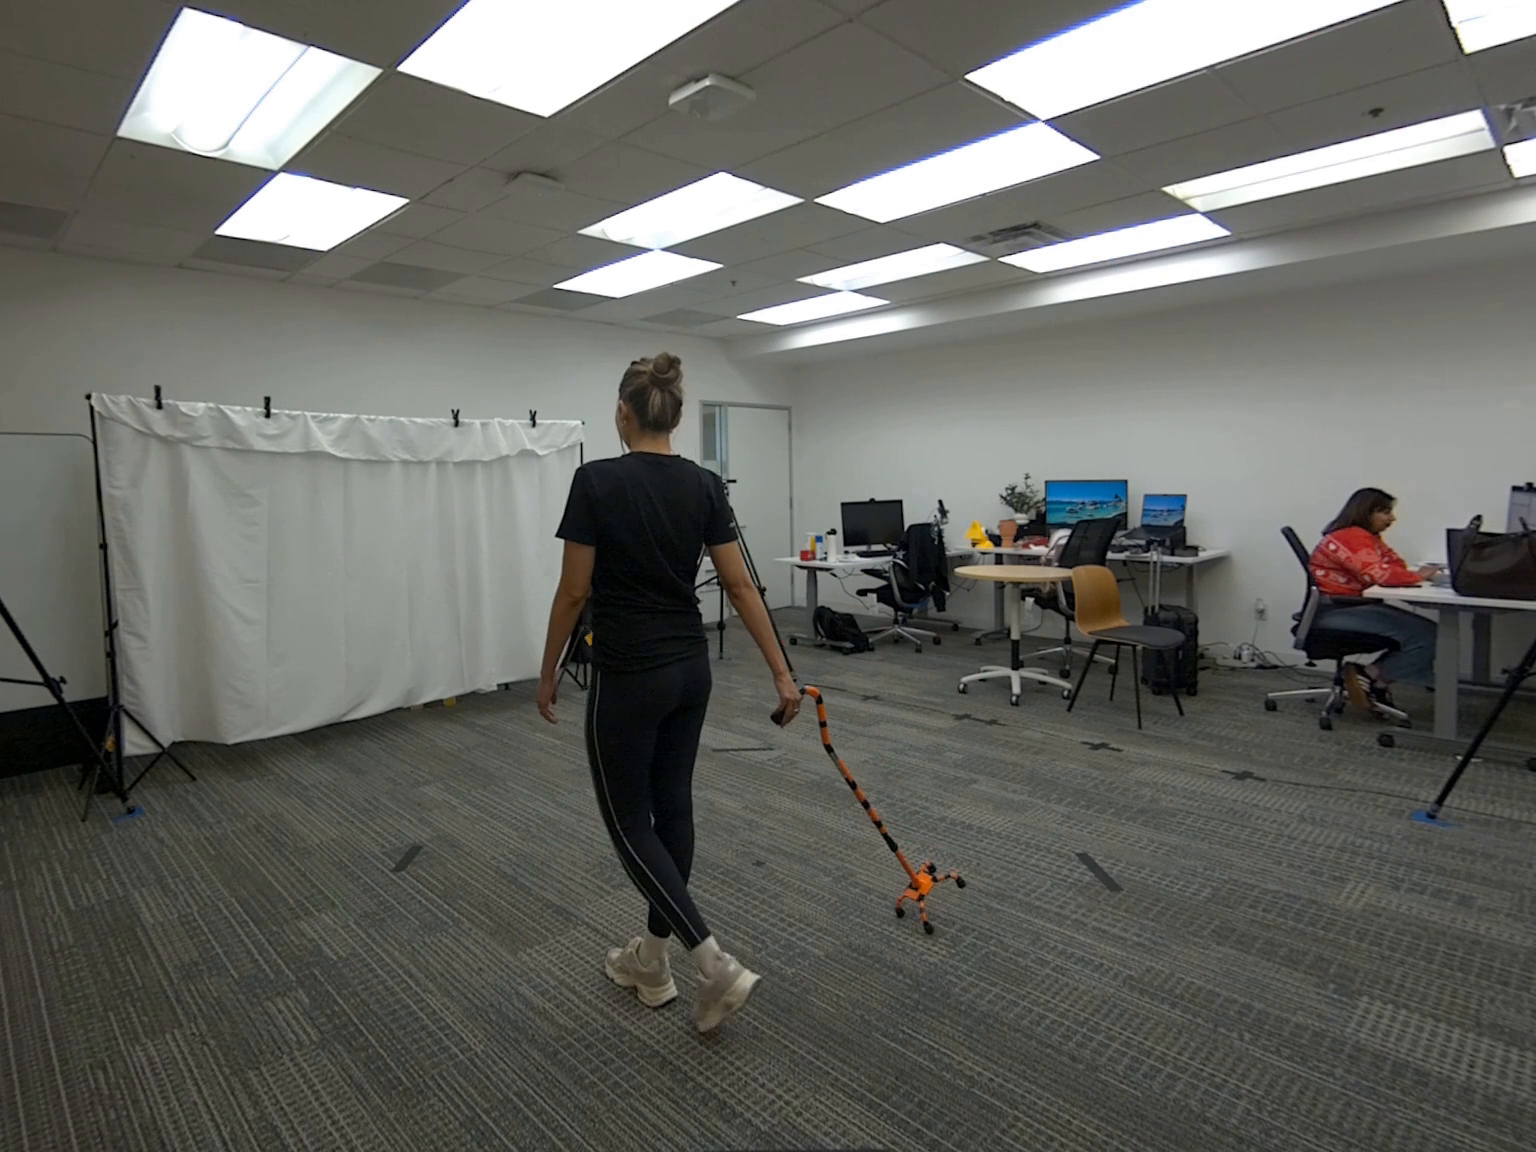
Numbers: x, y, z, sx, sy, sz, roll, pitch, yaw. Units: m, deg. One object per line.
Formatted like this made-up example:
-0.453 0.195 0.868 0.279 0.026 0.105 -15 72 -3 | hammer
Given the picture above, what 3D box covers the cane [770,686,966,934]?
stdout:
0.310 0.680 2.539 0.206 0.883 0.156 -42 25 -24 | cane
